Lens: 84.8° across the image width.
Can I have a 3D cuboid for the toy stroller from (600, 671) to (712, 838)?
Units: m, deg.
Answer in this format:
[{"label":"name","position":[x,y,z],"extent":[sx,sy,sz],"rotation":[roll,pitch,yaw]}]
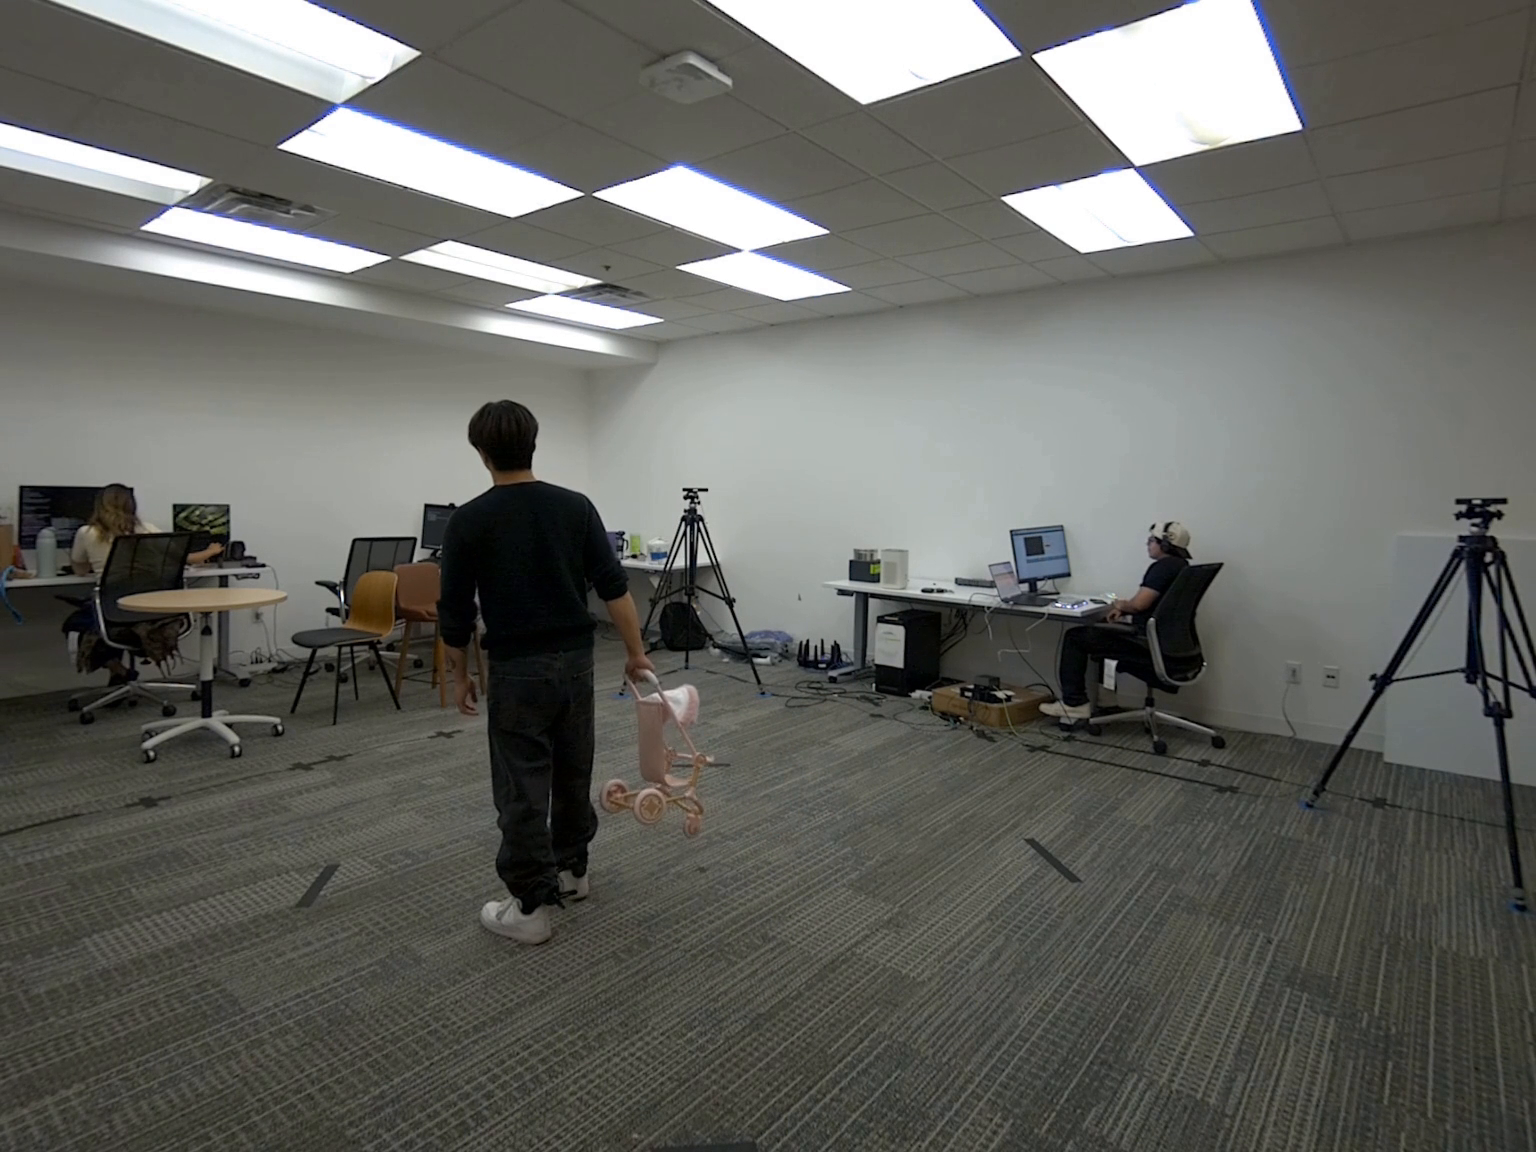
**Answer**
[{"label":"toy stroller","position":[-0.352,0.601,2.845],"extent":[0.331,0.541,0.287],"rotation":[12,-14,-29]}]
